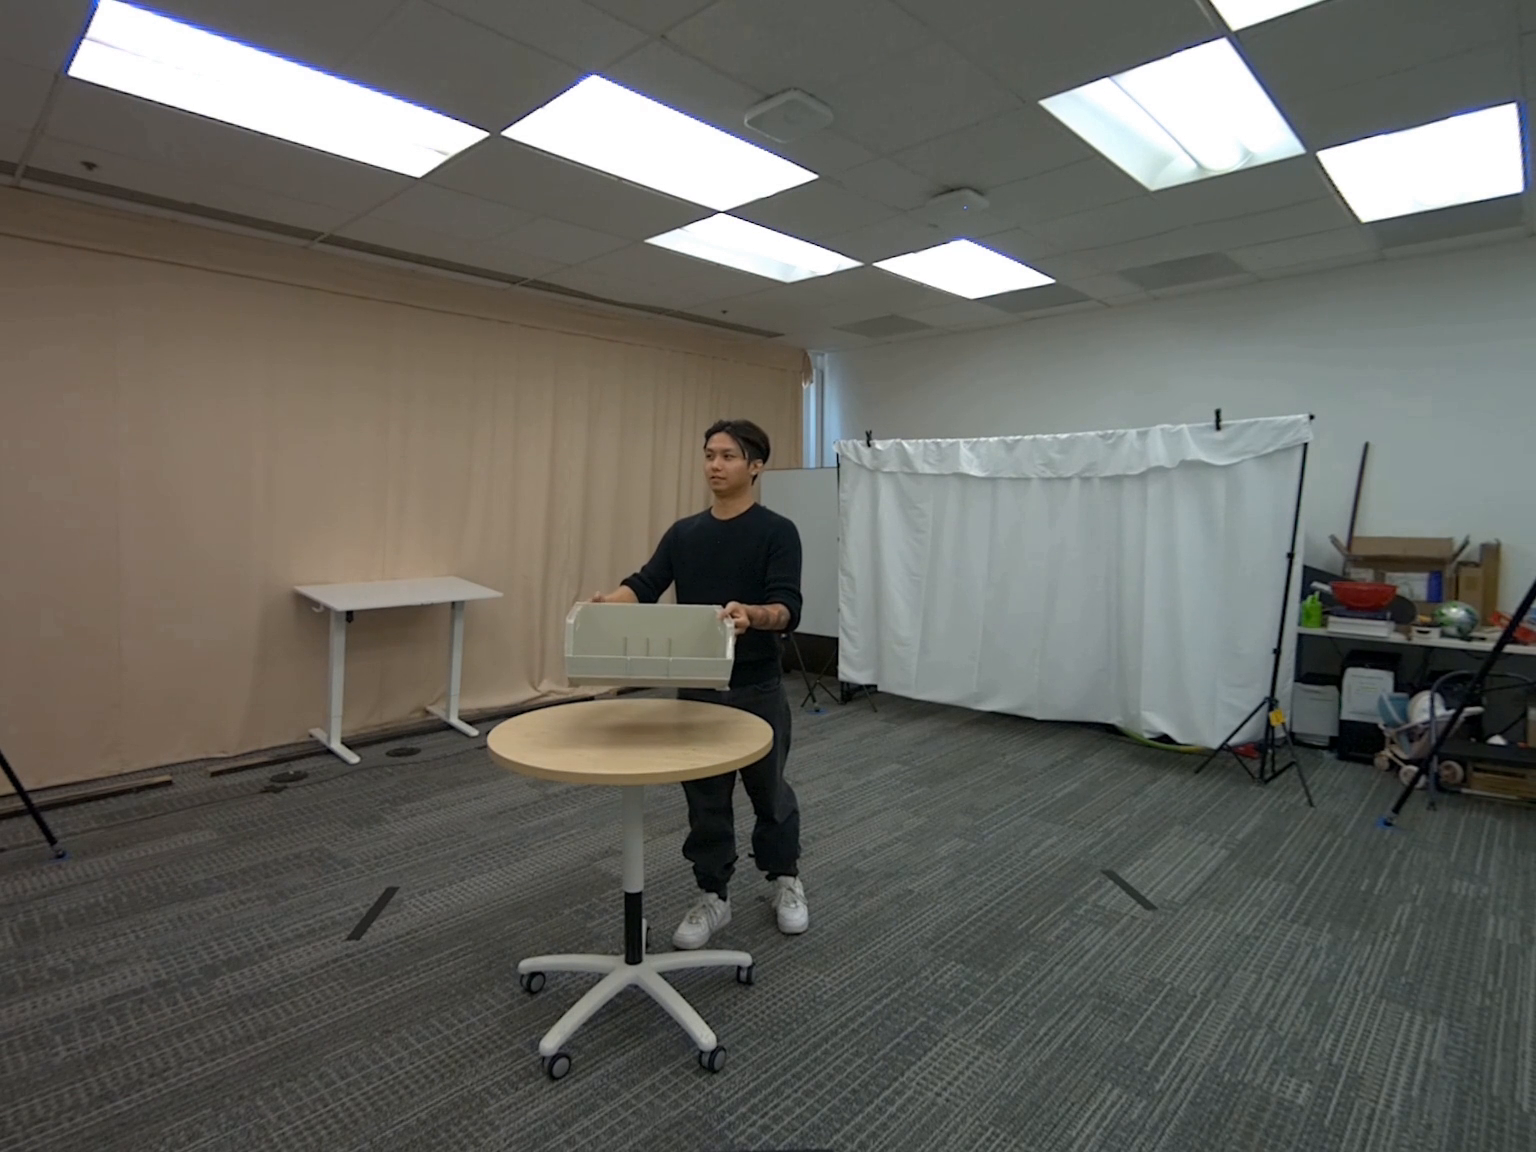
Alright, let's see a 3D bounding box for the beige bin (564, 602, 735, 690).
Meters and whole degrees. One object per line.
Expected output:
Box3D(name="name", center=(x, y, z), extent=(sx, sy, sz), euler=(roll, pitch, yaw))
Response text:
Box3D(name="beige bin", center=(-0.322, 0.189, 2.249), extent=(0.420, 0.189, 0.380), euler=(1, 2, -5))
